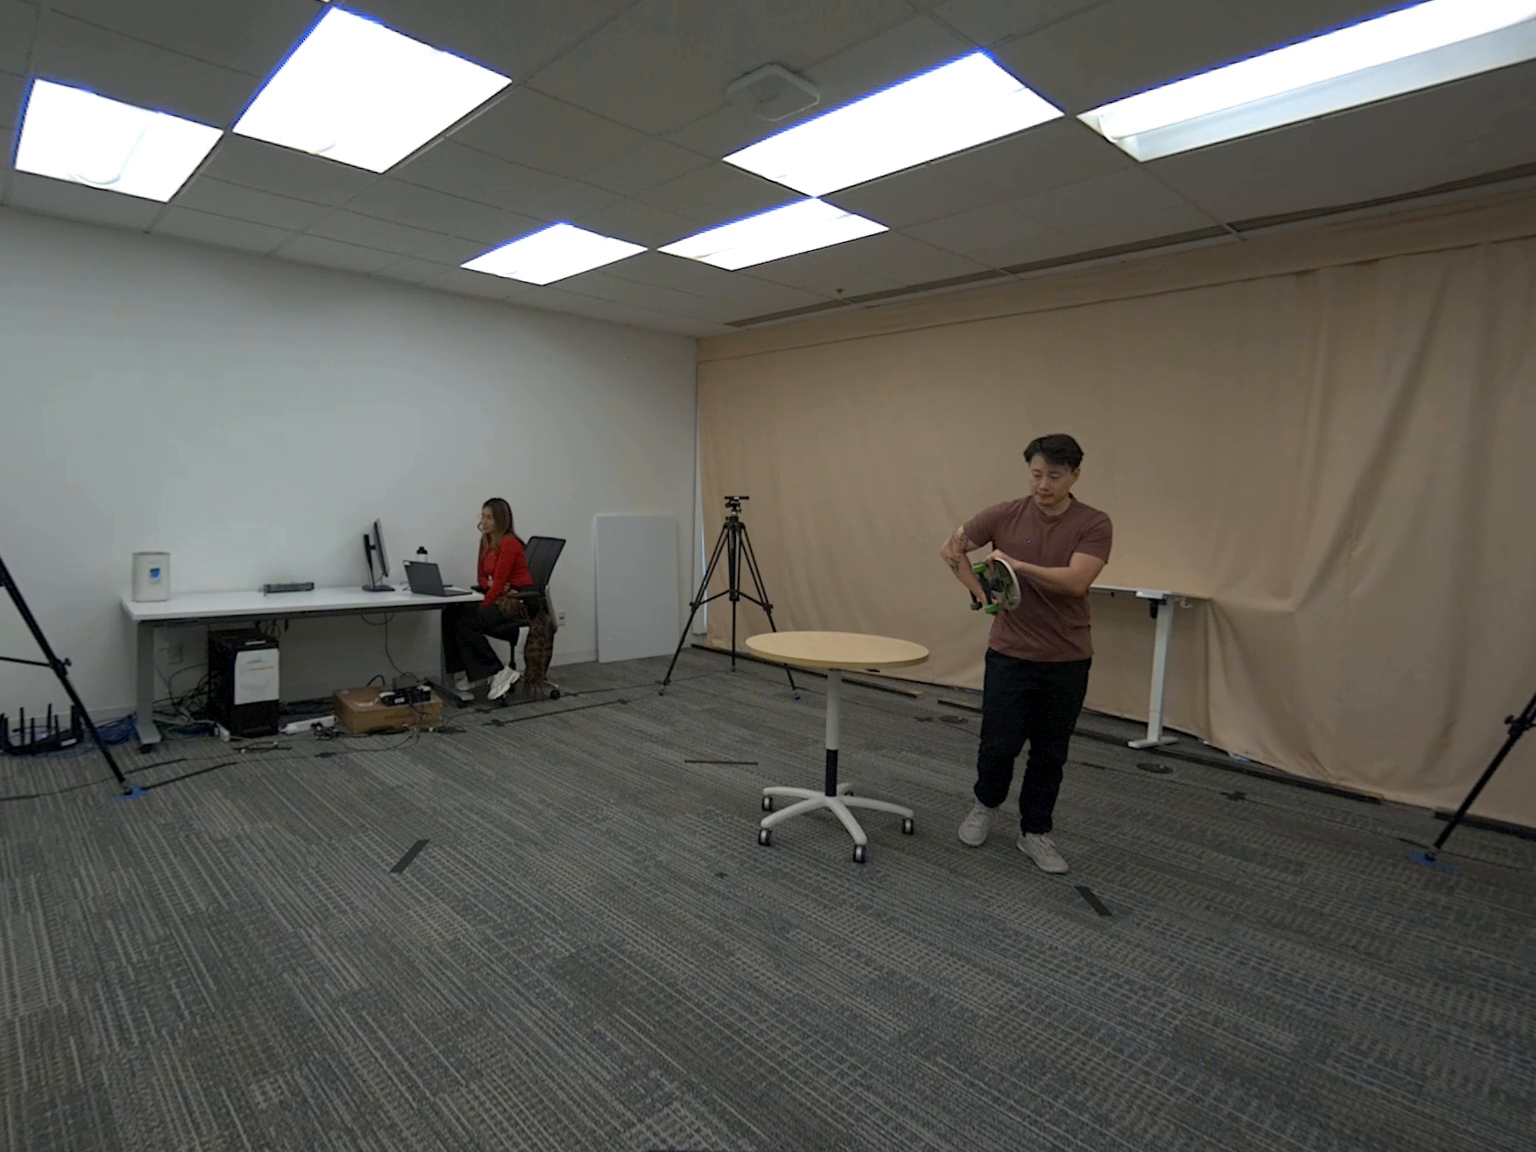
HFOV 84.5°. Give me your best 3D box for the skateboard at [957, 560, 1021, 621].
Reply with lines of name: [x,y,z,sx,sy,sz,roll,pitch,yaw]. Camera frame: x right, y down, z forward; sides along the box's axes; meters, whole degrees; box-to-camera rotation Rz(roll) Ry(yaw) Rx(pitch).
skateboard: [0.853,0.049,3.319,0.111,0.194,0.779,-15,-2,6]
